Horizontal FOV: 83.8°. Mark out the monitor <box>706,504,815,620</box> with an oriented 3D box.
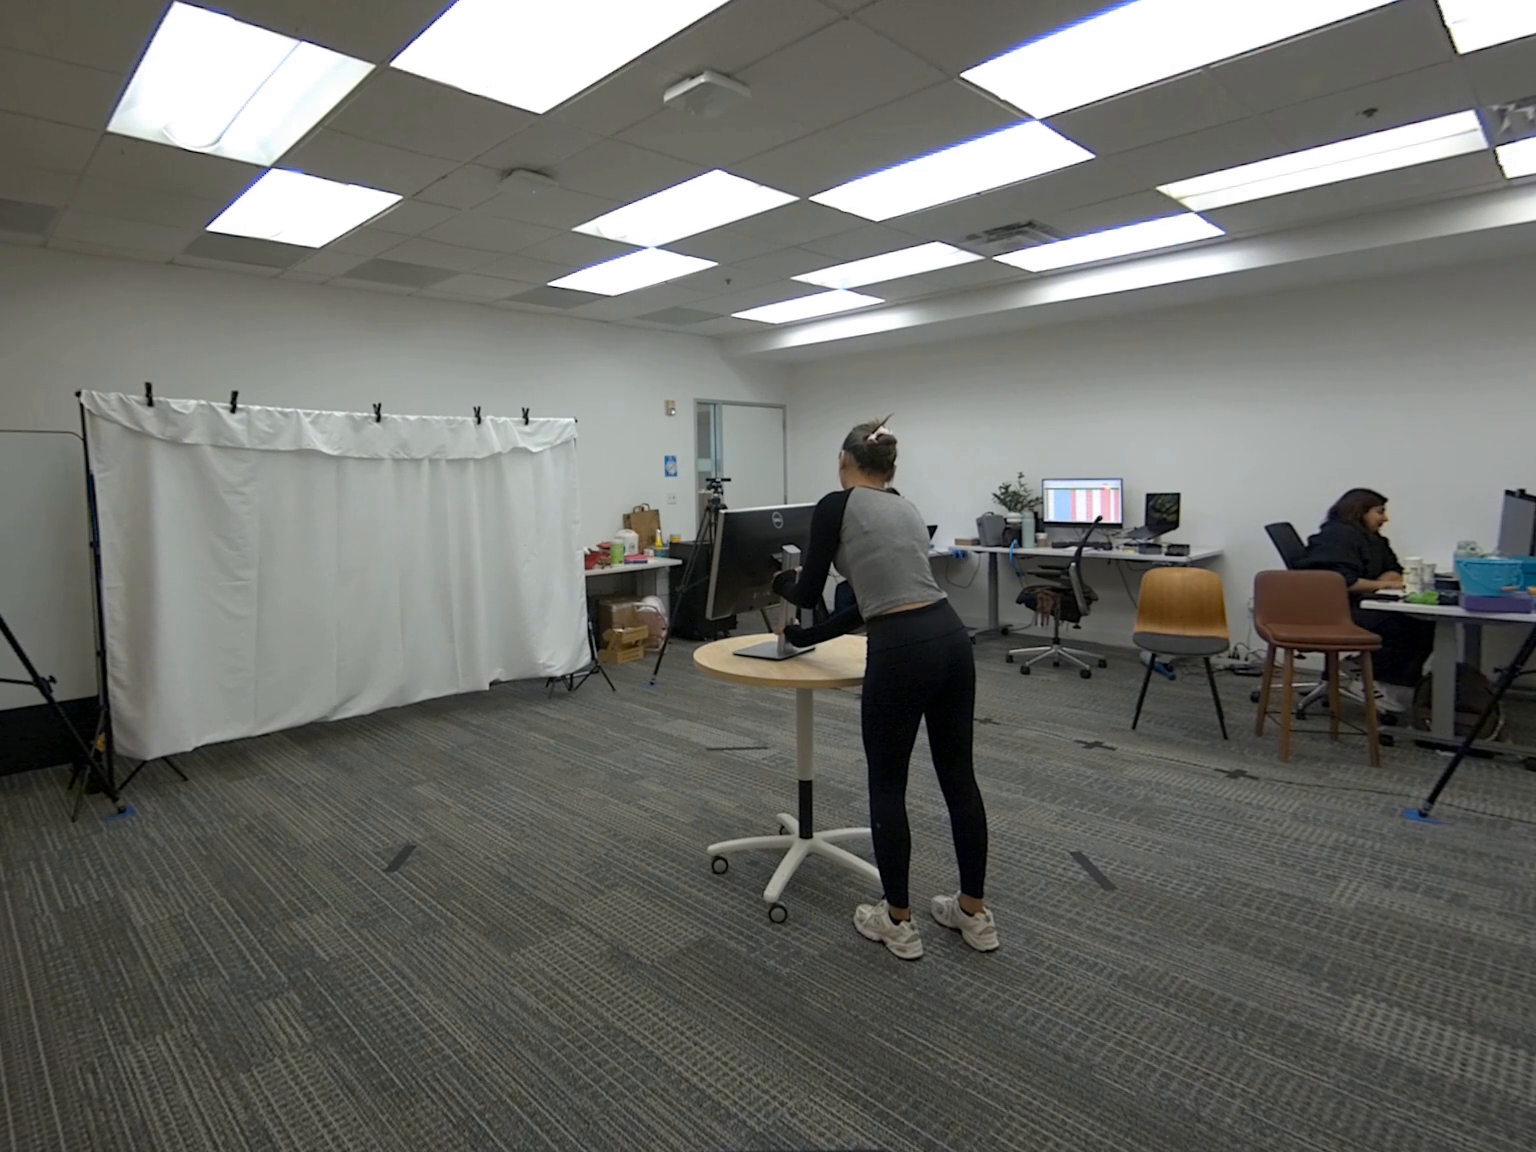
[{"bbox_3d":[0.025,0.022,2.953,0.192,0.521,0.526,-3,3,35],"label":"monitor"}]
